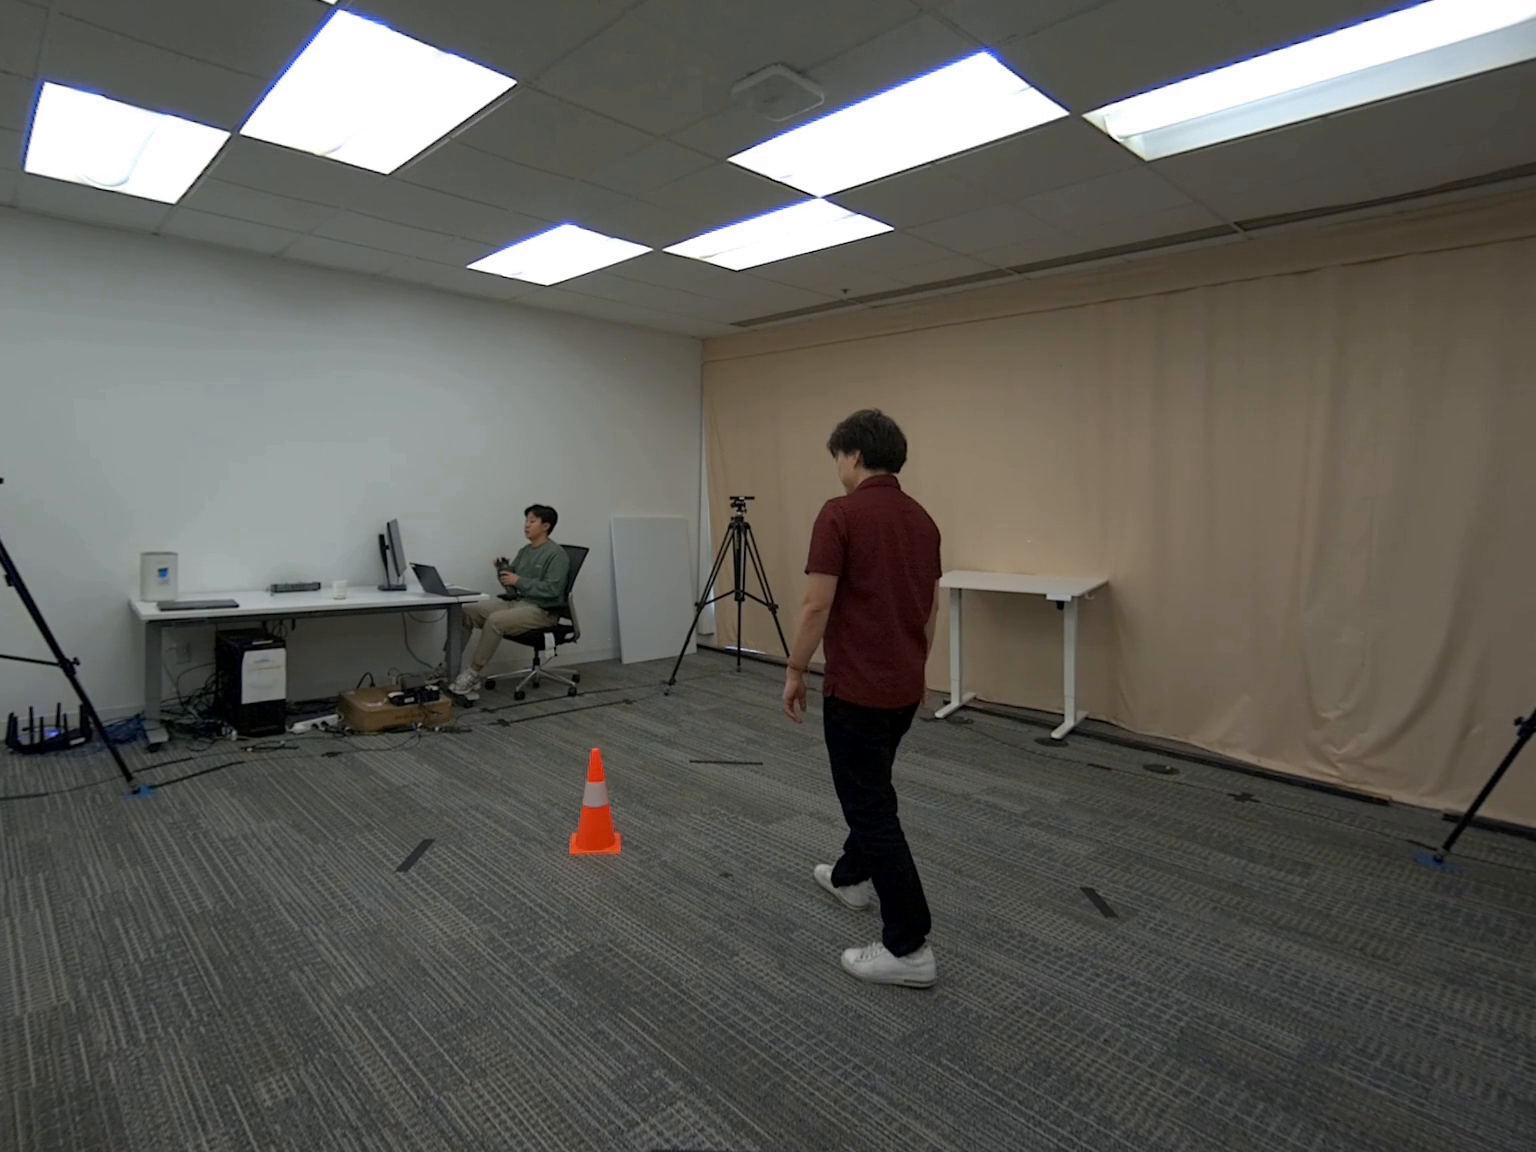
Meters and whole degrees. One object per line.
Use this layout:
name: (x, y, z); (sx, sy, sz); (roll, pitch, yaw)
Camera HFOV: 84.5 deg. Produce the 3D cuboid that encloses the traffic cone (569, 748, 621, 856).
traffic cone: (-0.704, 0.884, 3.351); (0.204, 0.383, 0.205); (0, 3, -8)
